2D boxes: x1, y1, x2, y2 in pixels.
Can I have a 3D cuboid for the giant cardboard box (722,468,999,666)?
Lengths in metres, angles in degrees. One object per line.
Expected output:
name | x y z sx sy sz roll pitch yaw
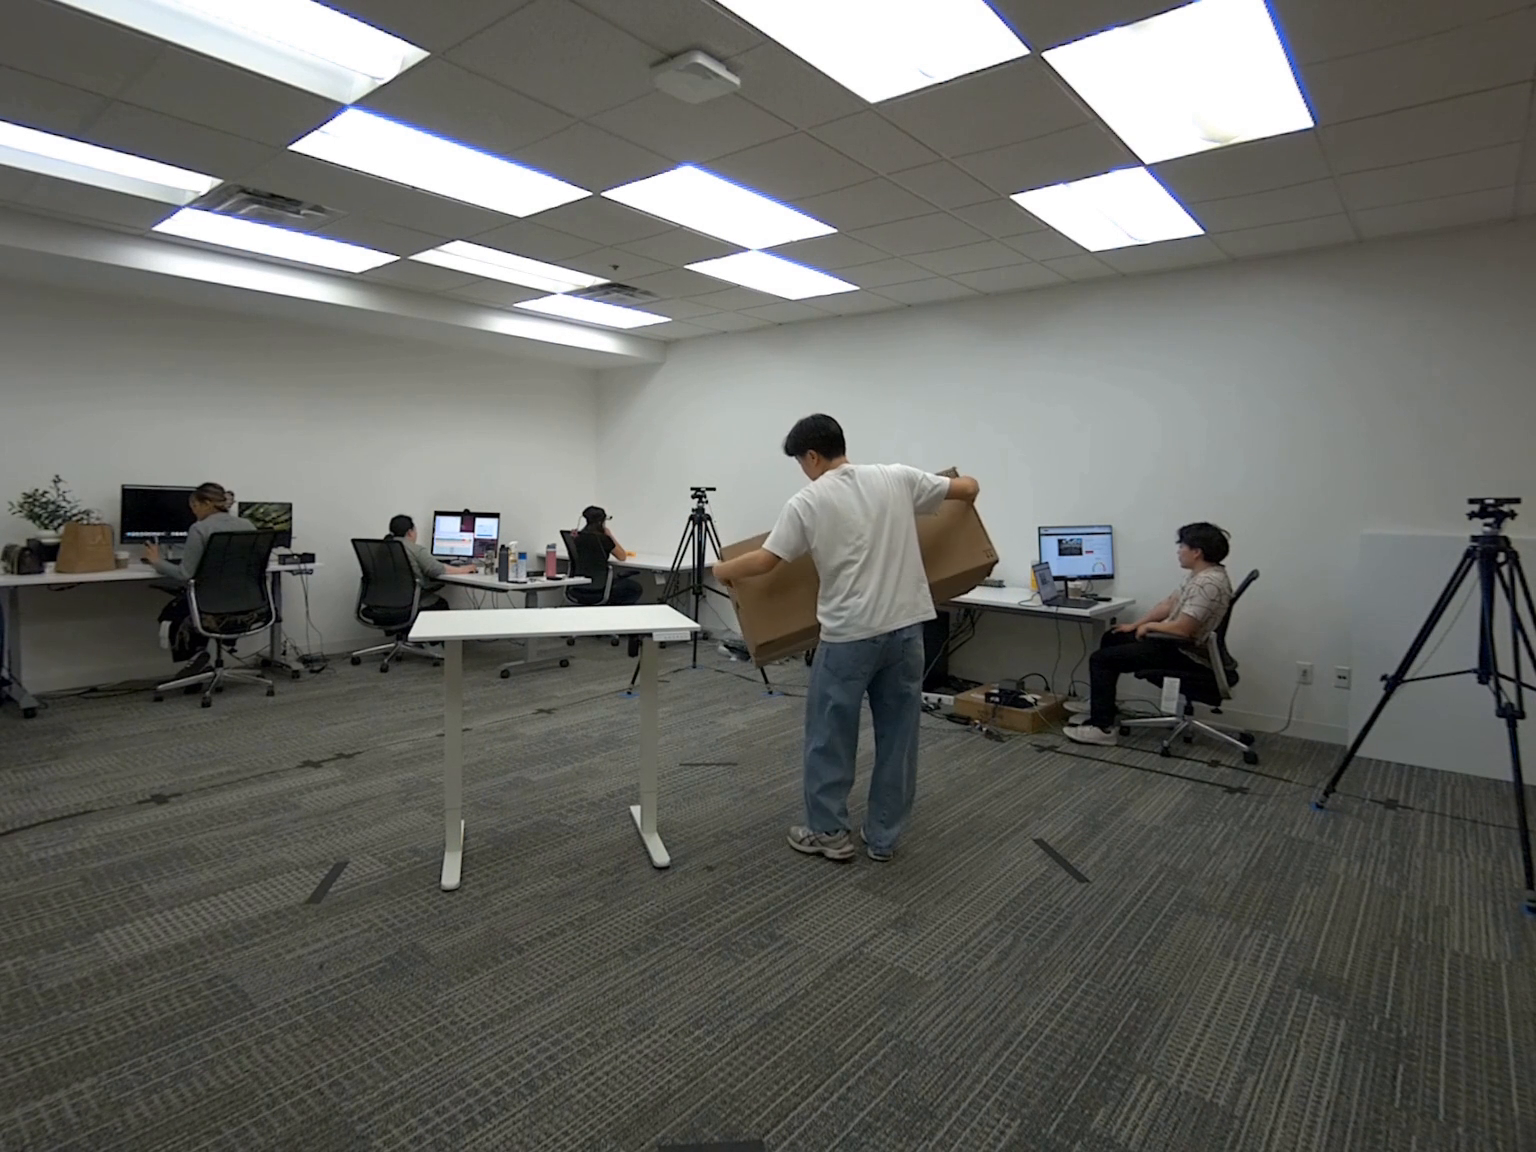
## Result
giant cardboard box | 0.342 -0.007 3.615 1.024 0.435 0.567 -19 -15 -3
